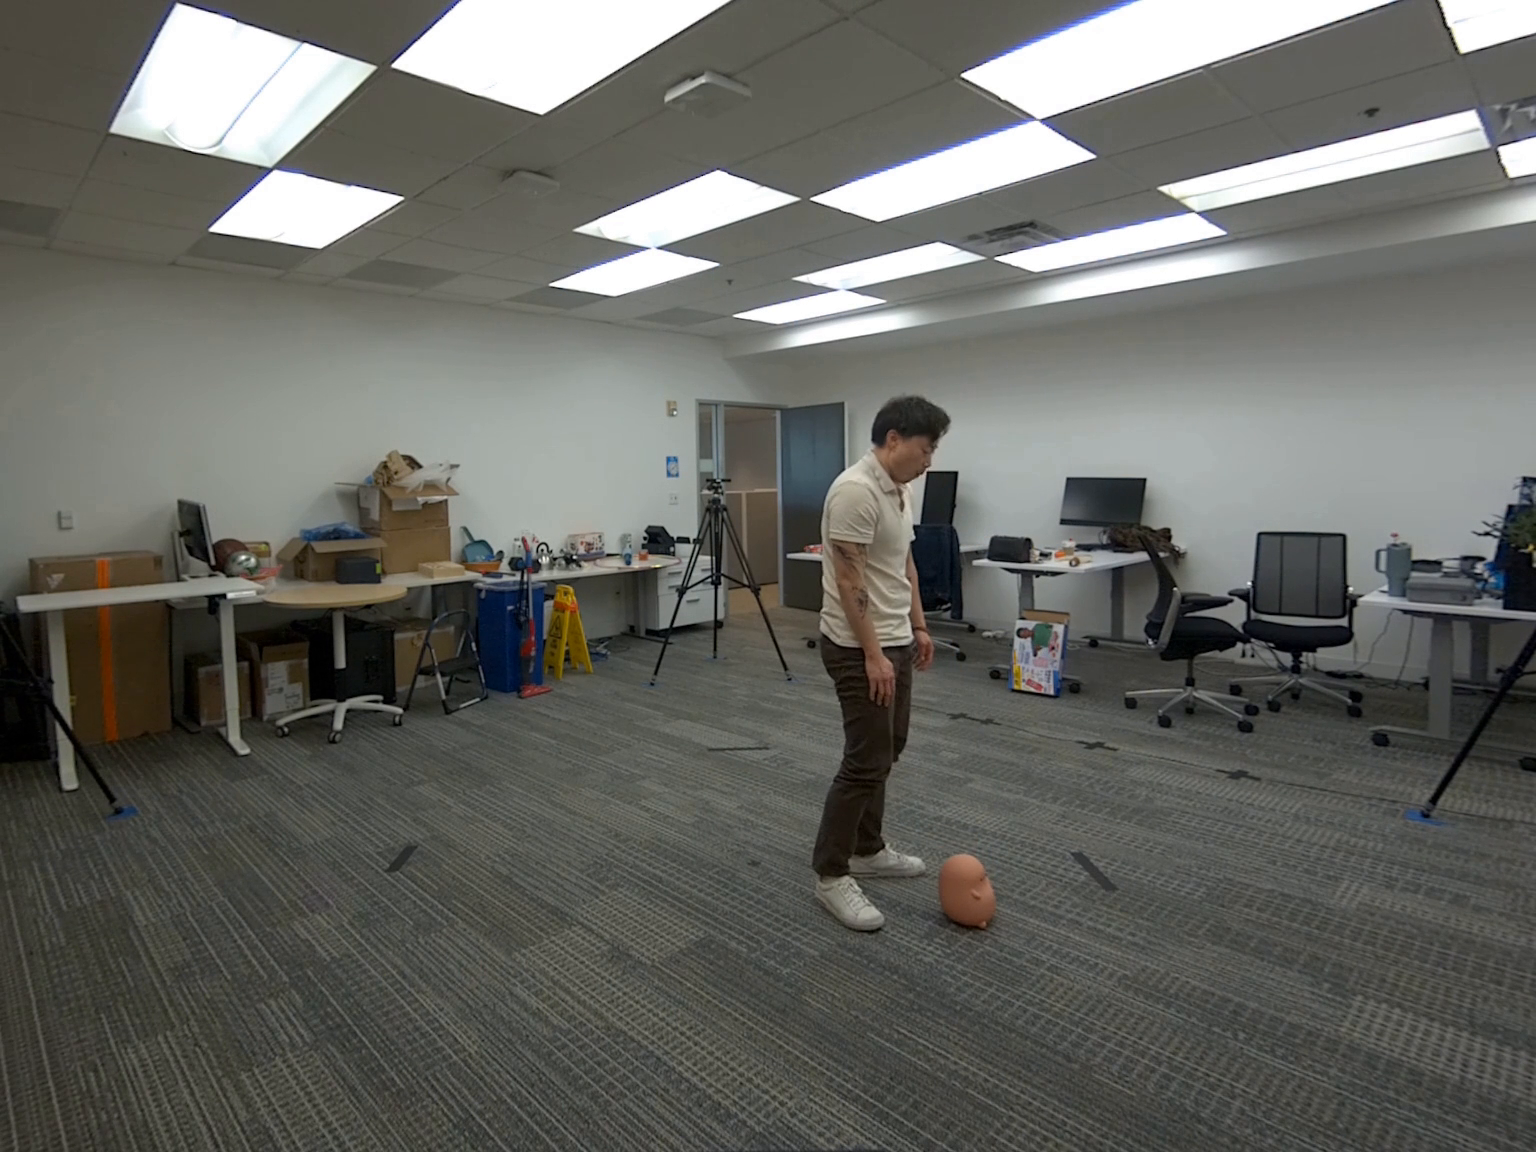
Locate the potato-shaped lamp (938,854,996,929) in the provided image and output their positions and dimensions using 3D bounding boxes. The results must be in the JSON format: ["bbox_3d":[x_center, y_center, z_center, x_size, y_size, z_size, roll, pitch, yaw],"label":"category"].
[{"bbox_3d":[0.628,0.979,2.684,0.176,0.197,0.161,2,8,34],"label":"potato-shaped lamp"}]
